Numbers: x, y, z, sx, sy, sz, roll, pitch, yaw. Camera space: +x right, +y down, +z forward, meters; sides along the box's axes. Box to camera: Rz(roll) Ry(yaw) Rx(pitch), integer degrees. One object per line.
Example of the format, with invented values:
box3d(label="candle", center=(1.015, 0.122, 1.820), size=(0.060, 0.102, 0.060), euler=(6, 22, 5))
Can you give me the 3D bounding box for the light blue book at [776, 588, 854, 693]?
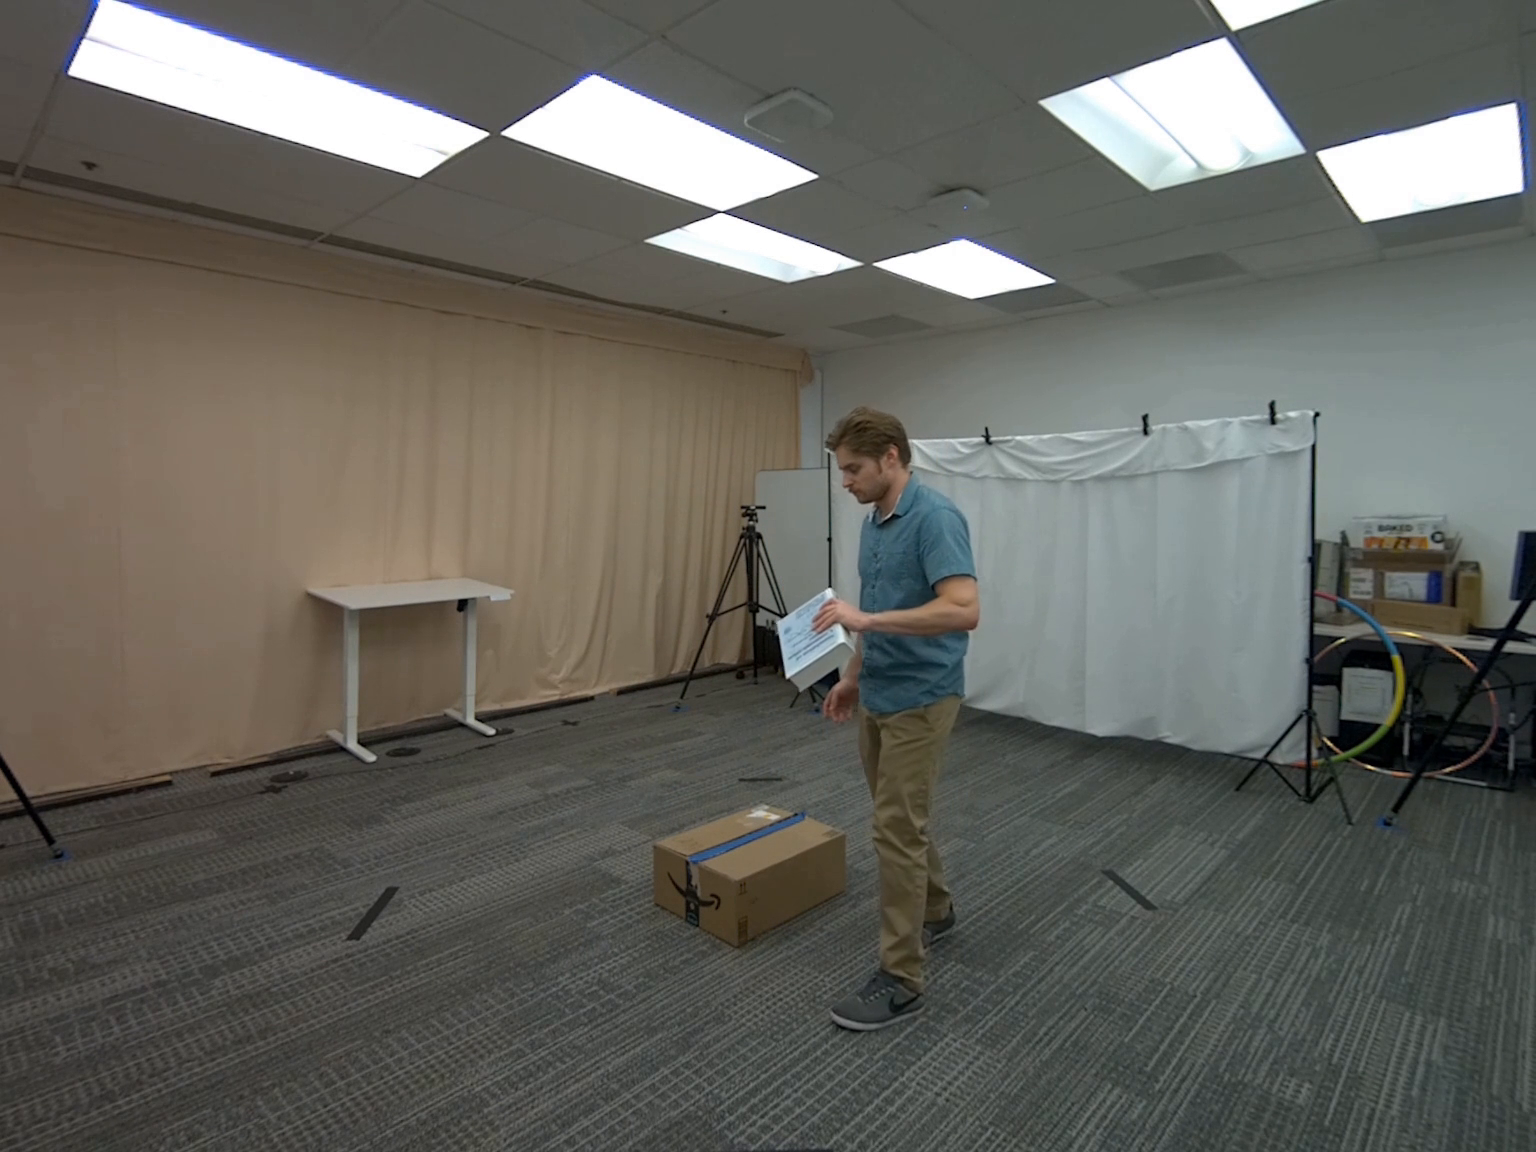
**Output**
box3d(label="light blue book", center=(0.135, 0.176, 2.291), size=(0.193, 0.057, 0.266), euler=(-35, 28, 18))
